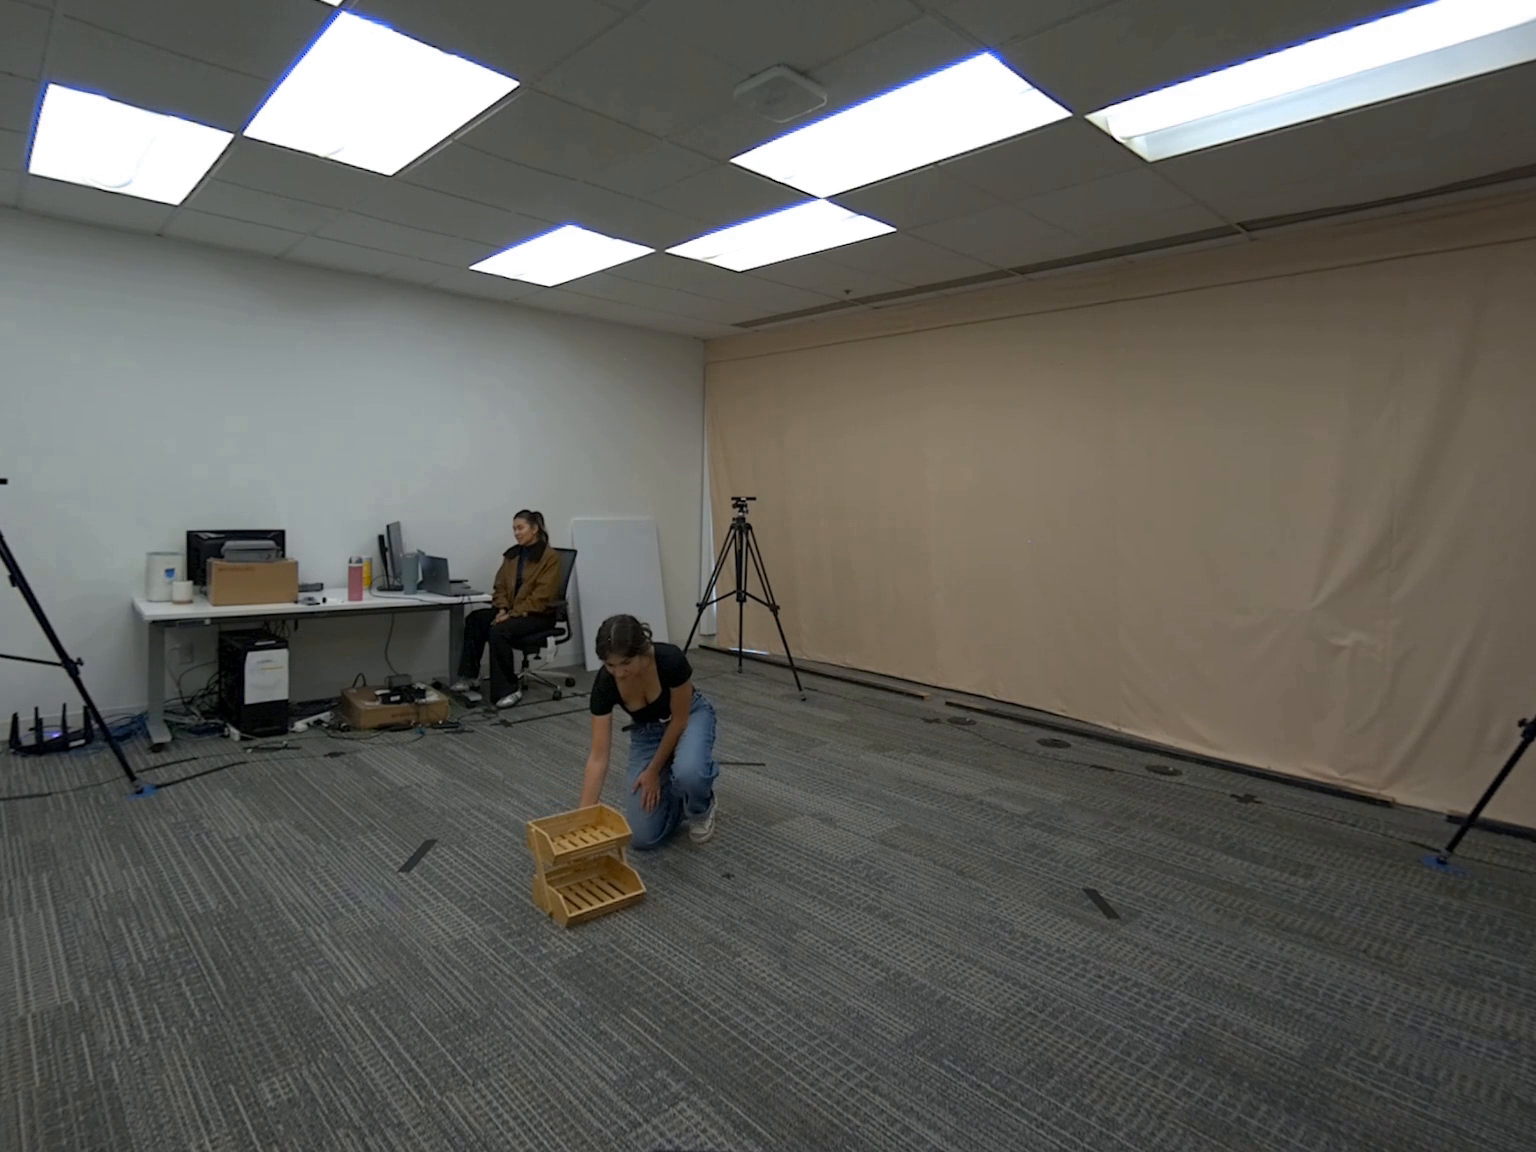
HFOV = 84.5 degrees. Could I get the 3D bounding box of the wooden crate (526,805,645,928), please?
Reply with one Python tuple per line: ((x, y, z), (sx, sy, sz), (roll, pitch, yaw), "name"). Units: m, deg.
((-0.638, 0.986, 2.887), (0.317, 0.273, 0.310), (-2, 5, -42), "wooden crate")
